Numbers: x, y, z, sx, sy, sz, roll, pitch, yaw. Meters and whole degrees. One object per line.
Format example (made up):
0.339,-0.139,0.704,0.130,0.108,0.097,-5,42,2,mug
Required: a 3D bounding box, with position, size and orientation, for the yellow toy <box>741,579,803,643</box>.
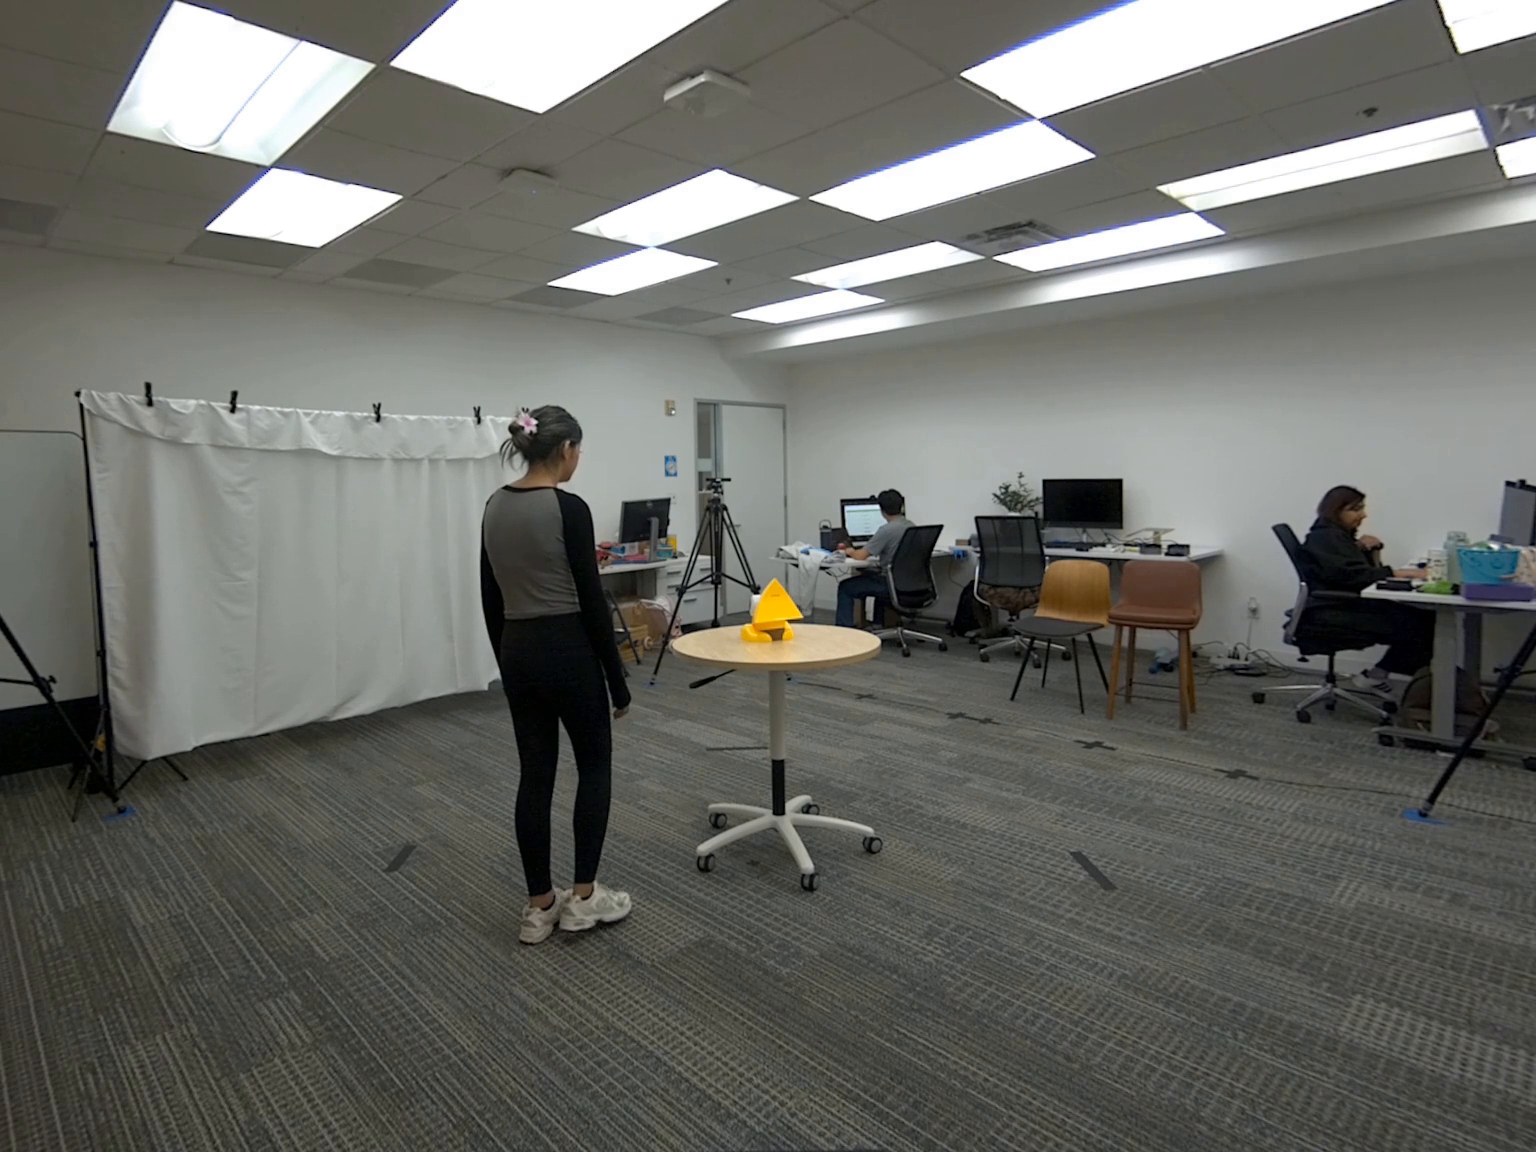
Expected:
0.001,0.121,3.226,0.200,0.230,0.198,-4,4,-29,yellow toy
